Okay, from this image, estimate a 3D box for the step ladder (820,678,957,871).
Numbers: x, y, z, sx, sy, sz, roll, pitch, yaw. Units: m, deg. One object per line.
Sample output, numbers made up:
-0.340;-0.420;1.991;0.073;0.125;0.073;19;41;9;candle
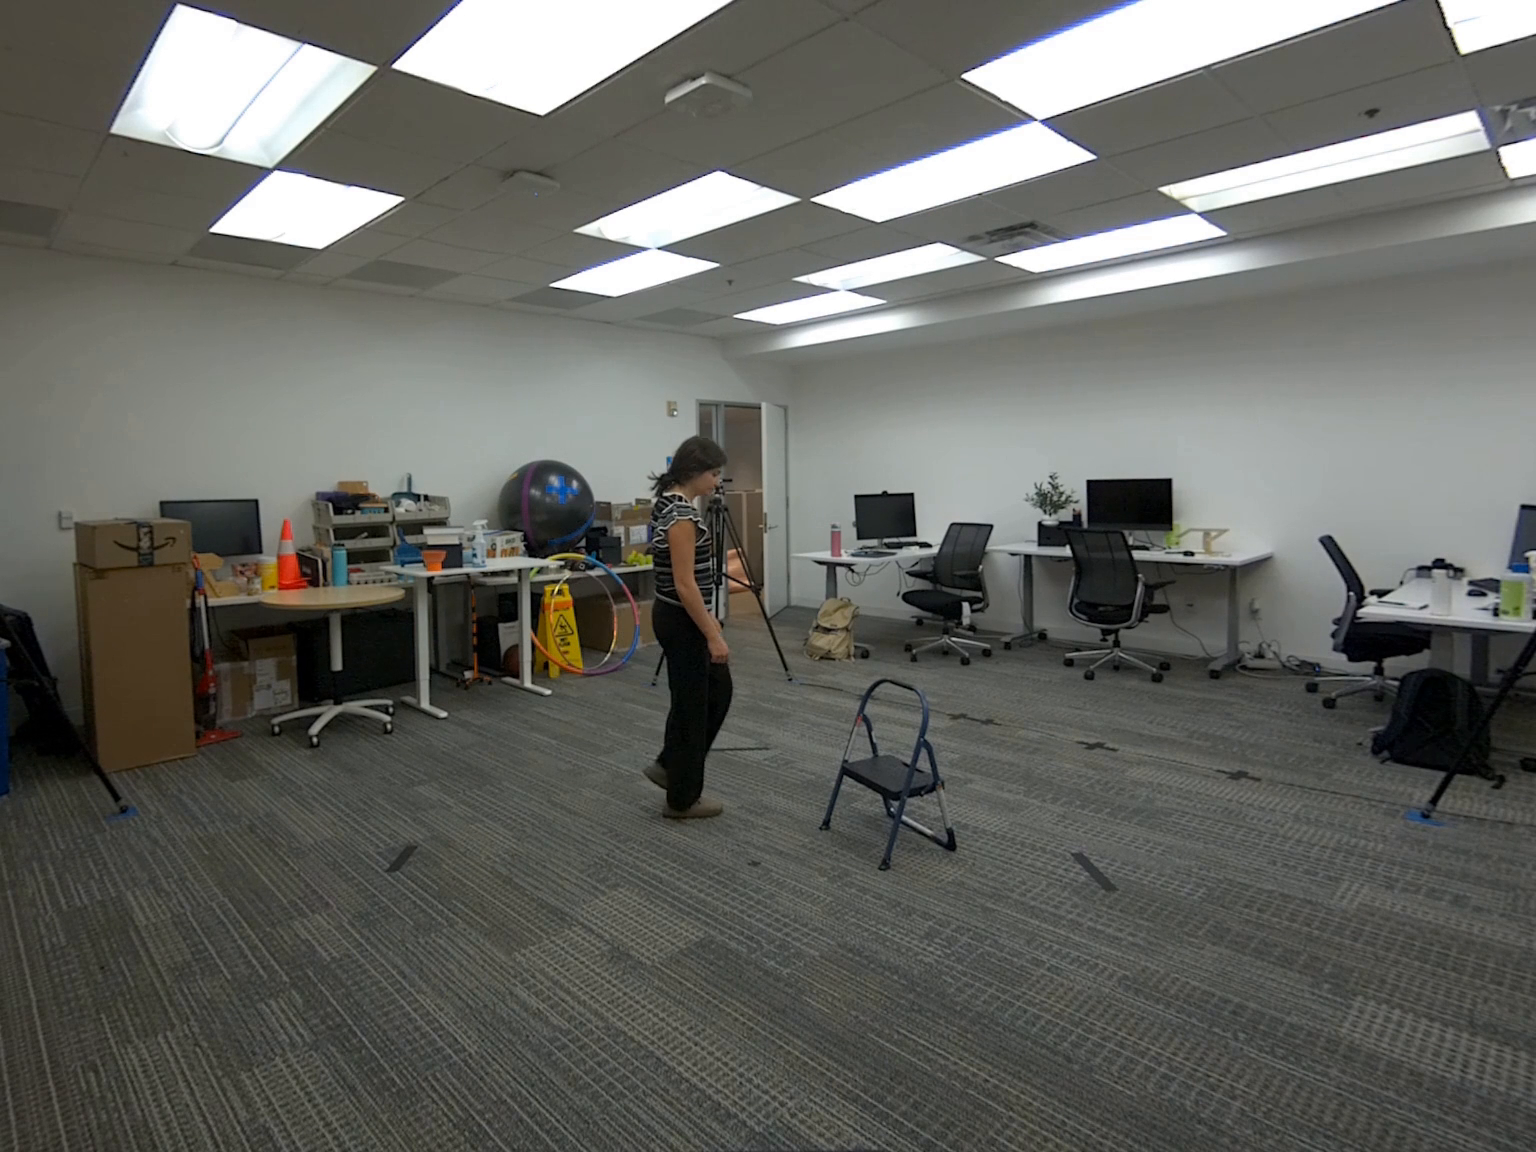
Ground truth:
0.456;0.715;3.275;0.341;0.604;0.442;-2;4;-28;step ladder
